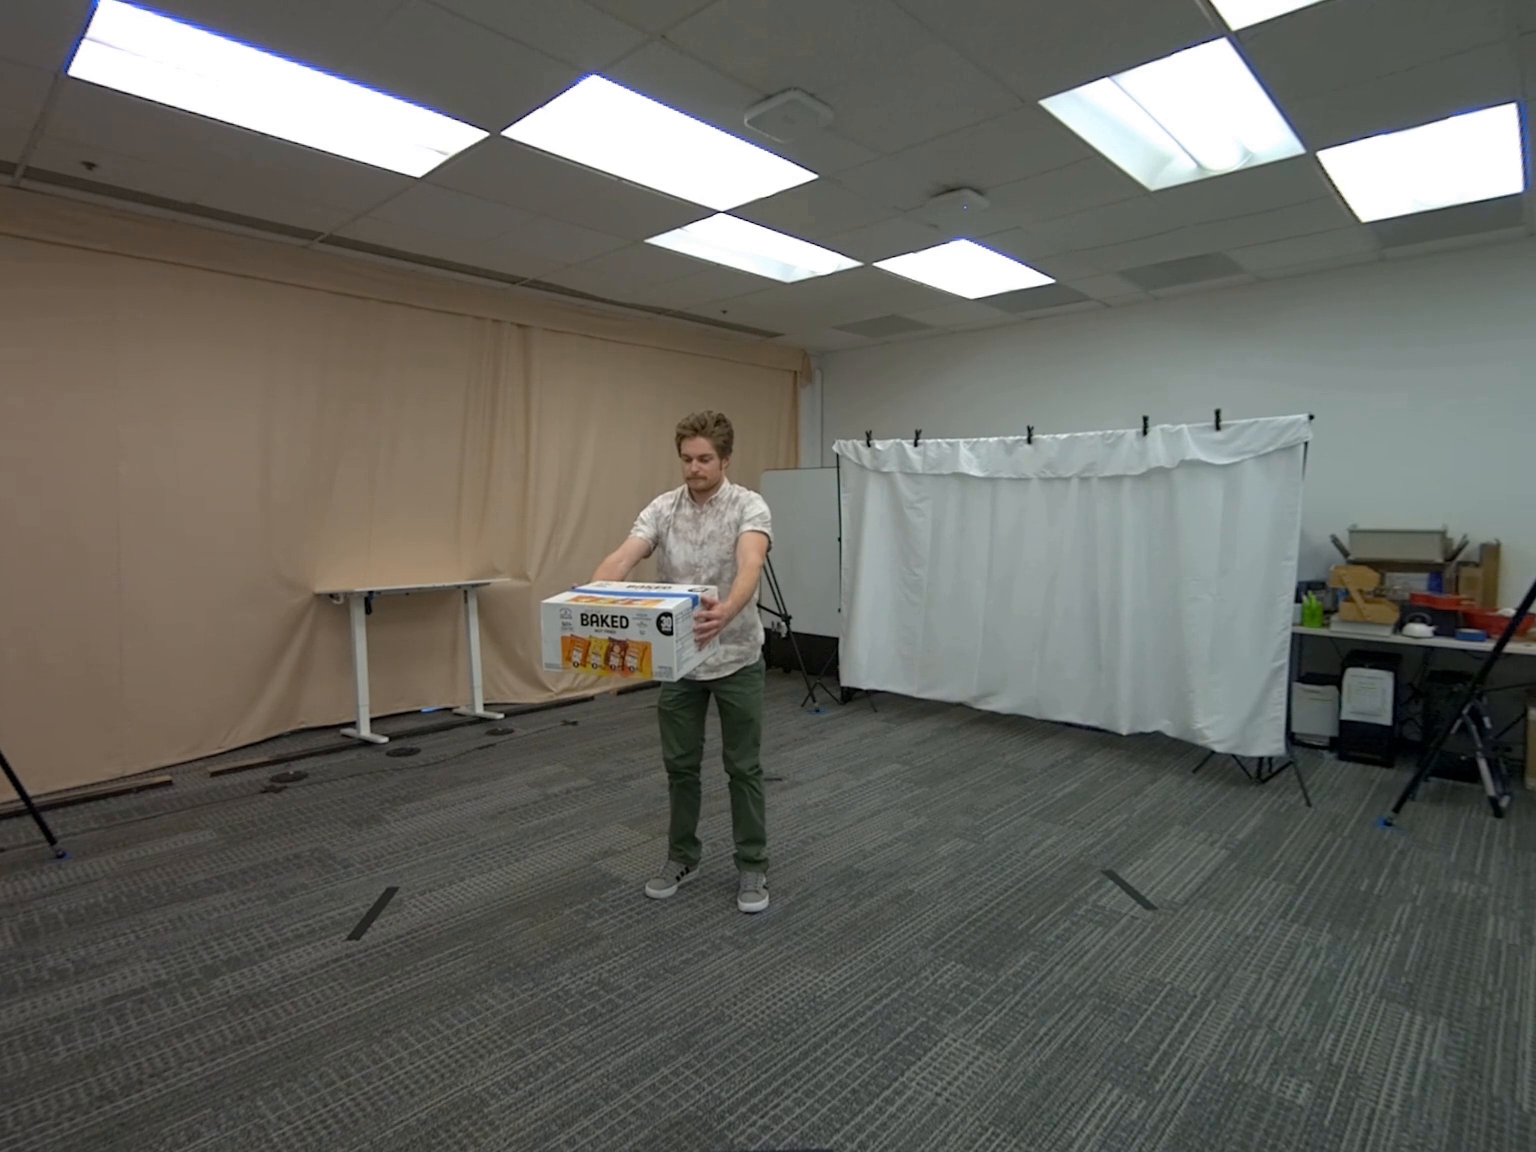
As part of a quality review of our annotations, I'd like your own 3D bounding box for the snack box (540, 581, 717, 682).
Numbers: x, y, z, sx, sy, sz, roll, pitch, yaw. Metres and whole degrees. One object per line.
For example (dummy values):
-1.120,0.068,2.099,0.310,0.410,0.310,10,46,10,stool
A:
-0.394,0.153,2.445,0.413,0.204,0.335,2,10,18,snack box
